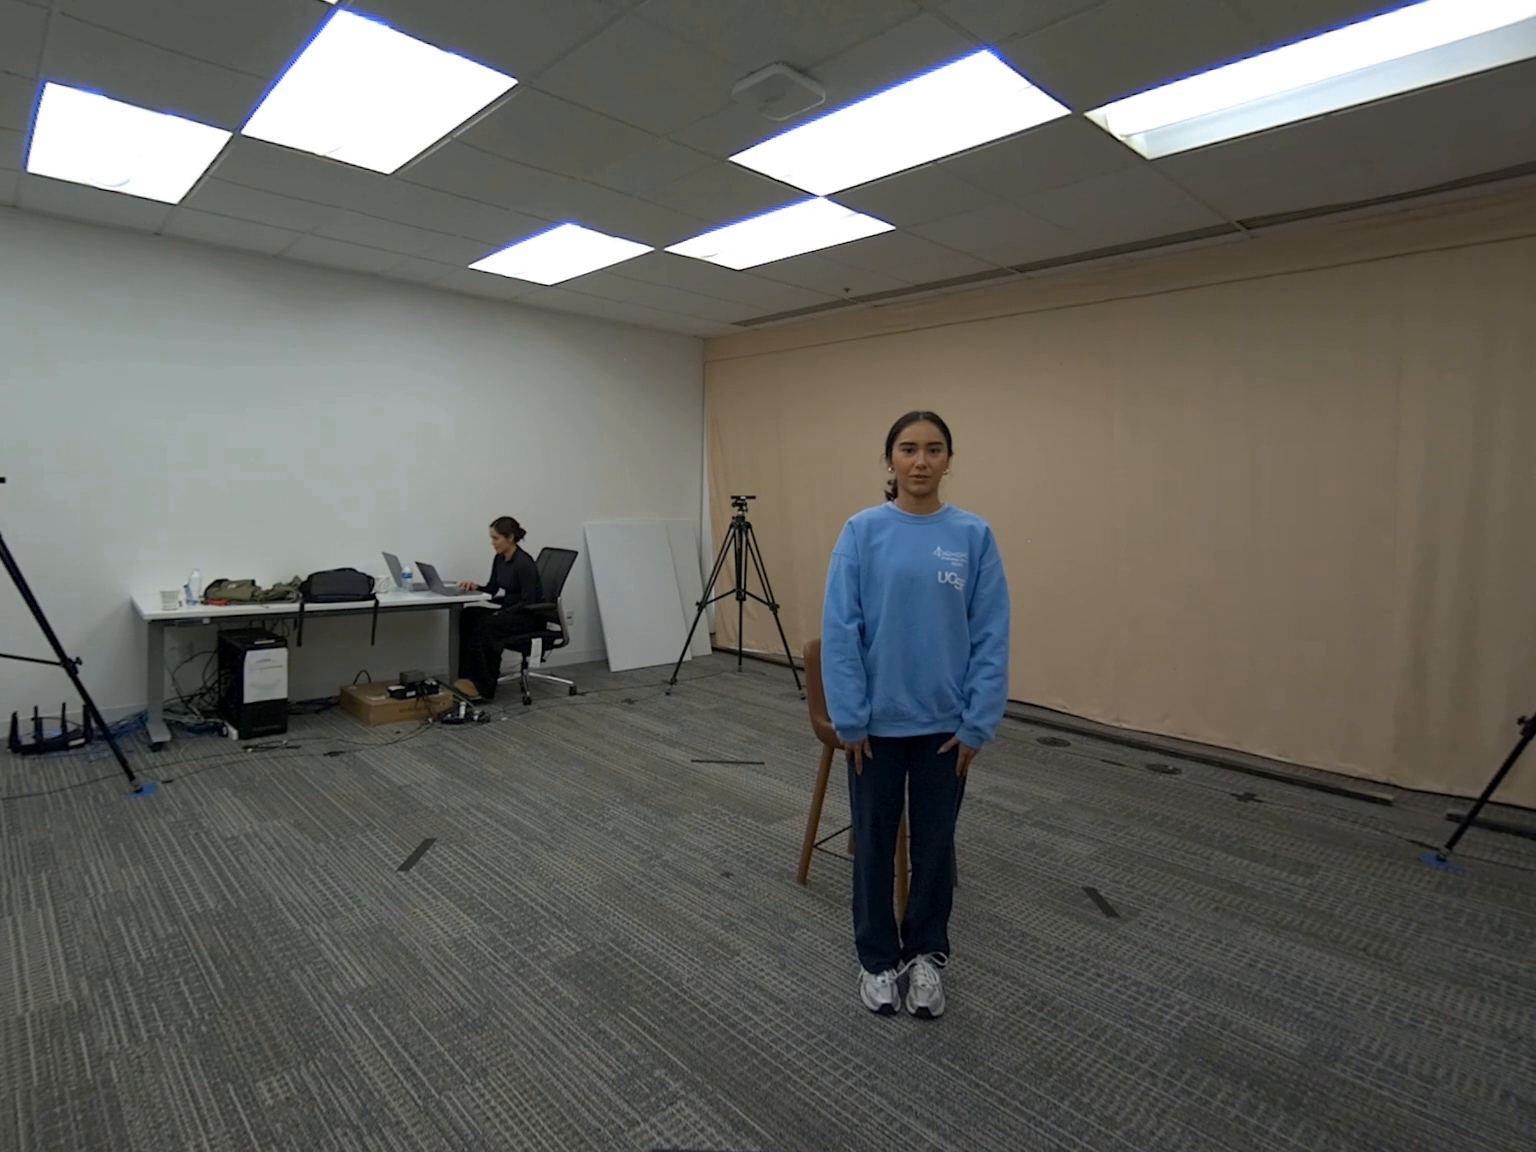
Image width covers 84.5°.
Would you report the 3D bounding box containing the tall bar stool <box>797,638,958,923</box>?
[{"bbox_3d":[0.402,0.690,3.030,0.479,0.889,0.446,2,2,38],"label":"tall bar stool"}]
